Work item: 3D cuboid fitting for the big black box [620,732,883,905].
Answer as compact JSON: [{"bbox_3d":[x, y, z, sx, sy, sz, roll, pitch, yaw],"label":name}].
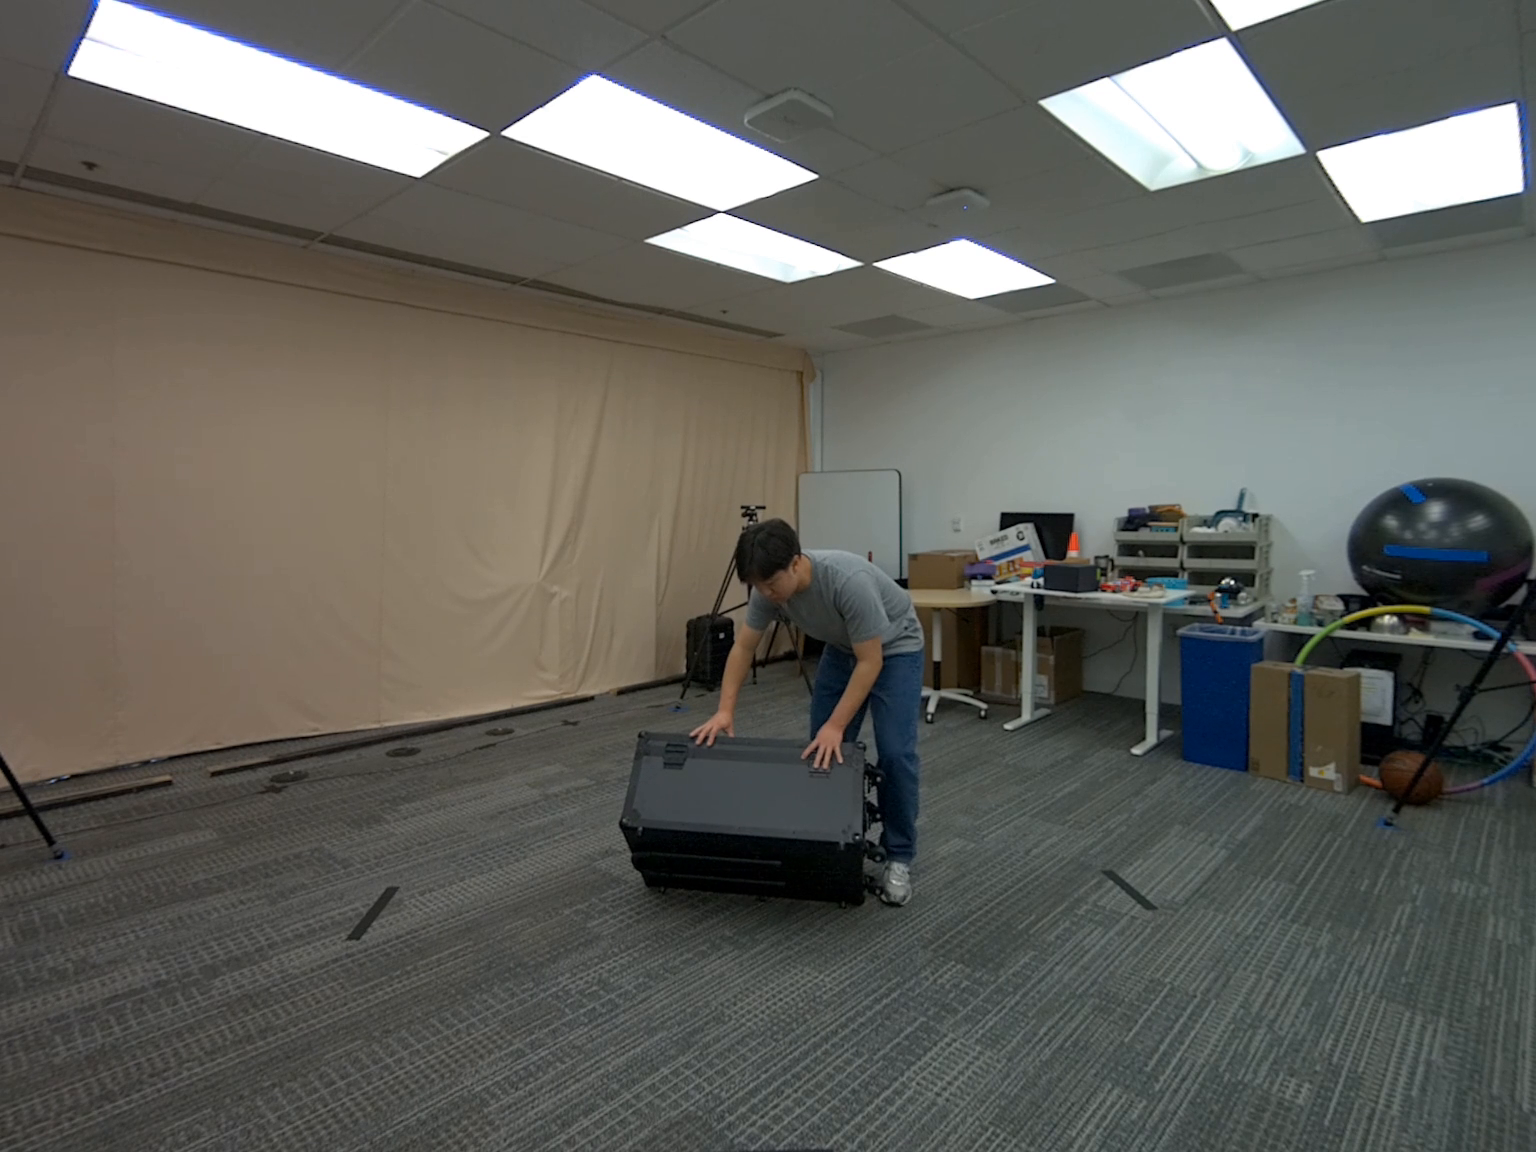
[{"bbox_3d":[-0.035,0.854,2.918,0.870,0.509,0.402,0,47,8],"label":"big black box"}]
